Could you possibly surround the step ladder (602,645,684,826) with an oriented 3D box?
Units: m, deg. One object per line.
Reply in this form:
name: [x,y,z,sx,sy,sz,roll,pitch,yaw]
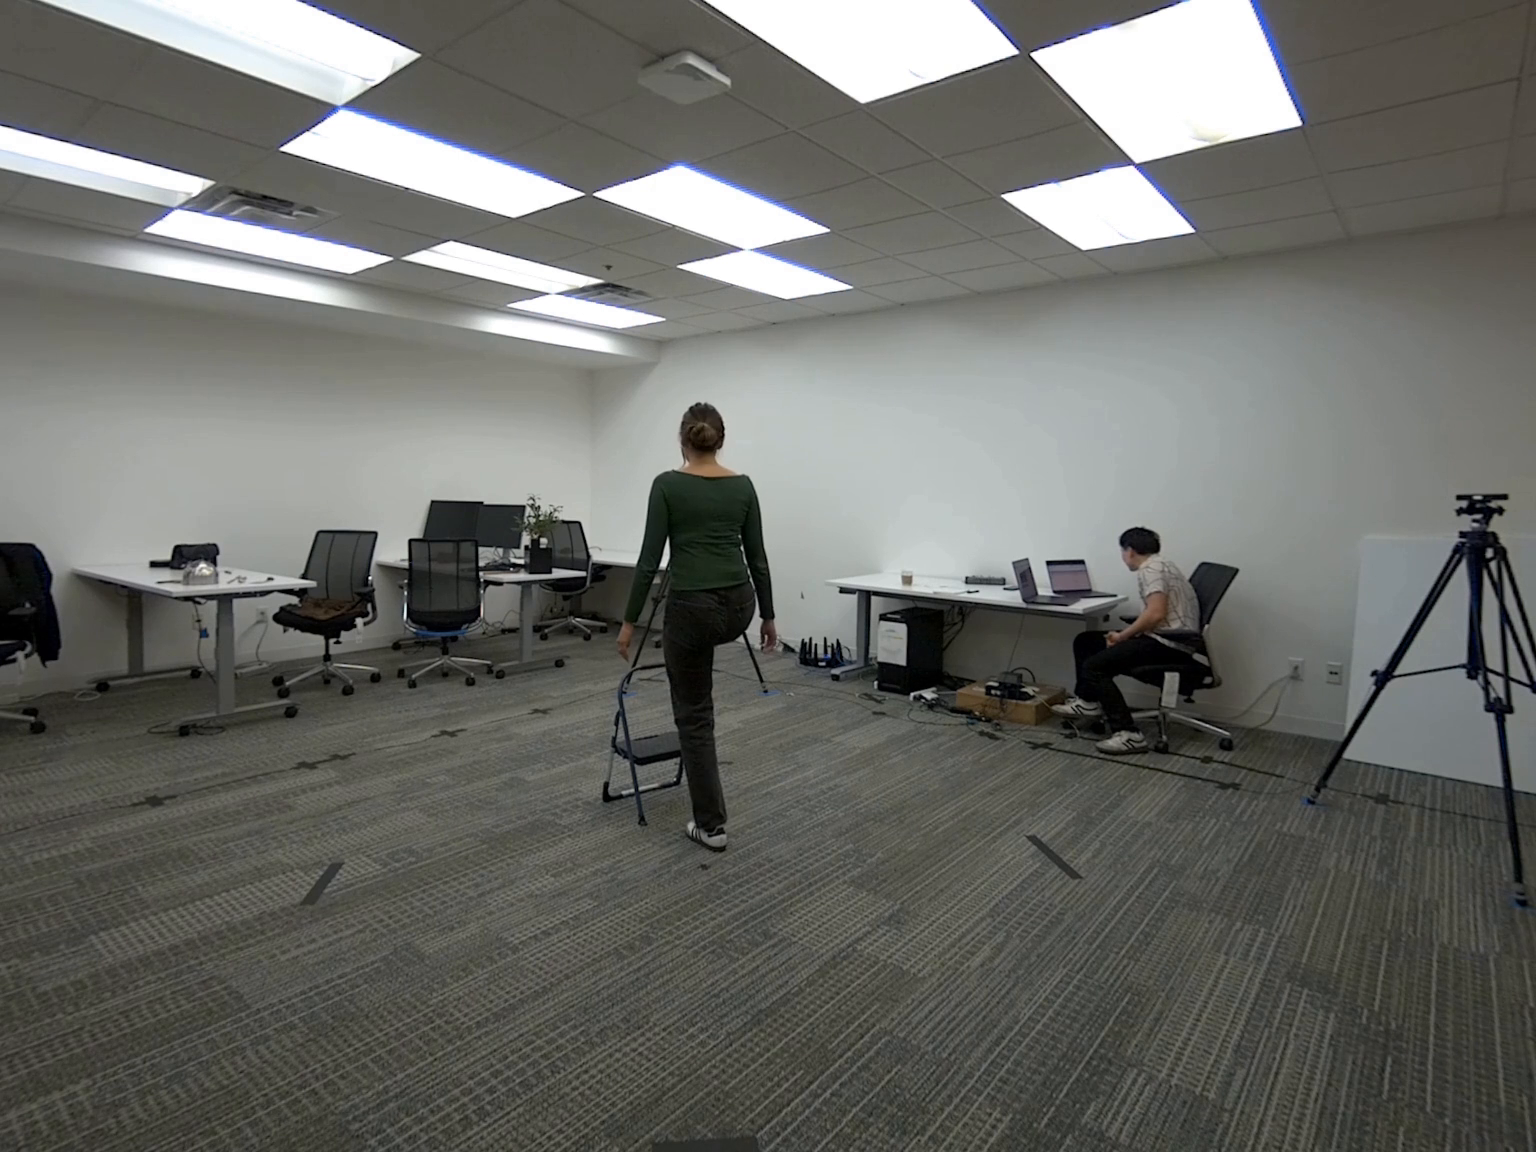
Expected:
step ladder: [-0.477,0.697,3.740,0.417,0.605,0.361,-2,4,-40]
